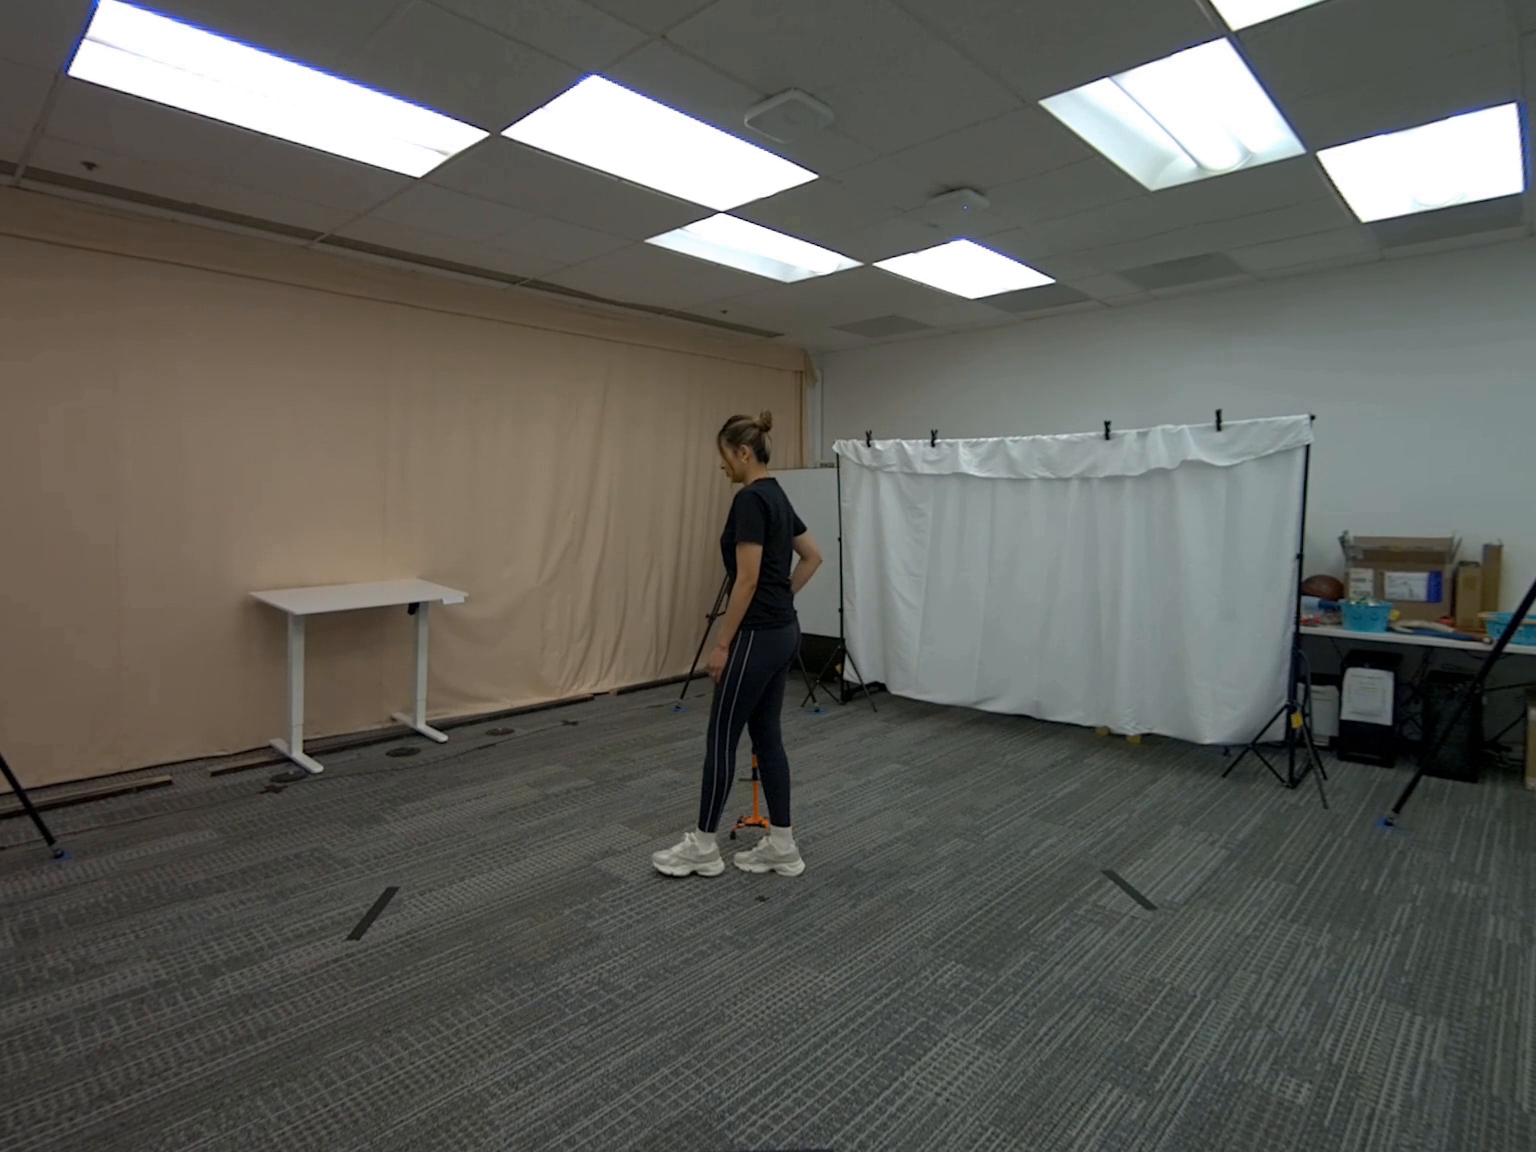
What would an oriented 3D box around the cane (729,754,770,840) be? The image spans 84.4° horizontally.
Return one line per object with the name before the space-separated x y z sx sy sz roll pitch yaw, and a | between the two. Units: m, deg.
cane | -0.068 0.623 3.454 0.209 0.906 0.150 -1 2 10
